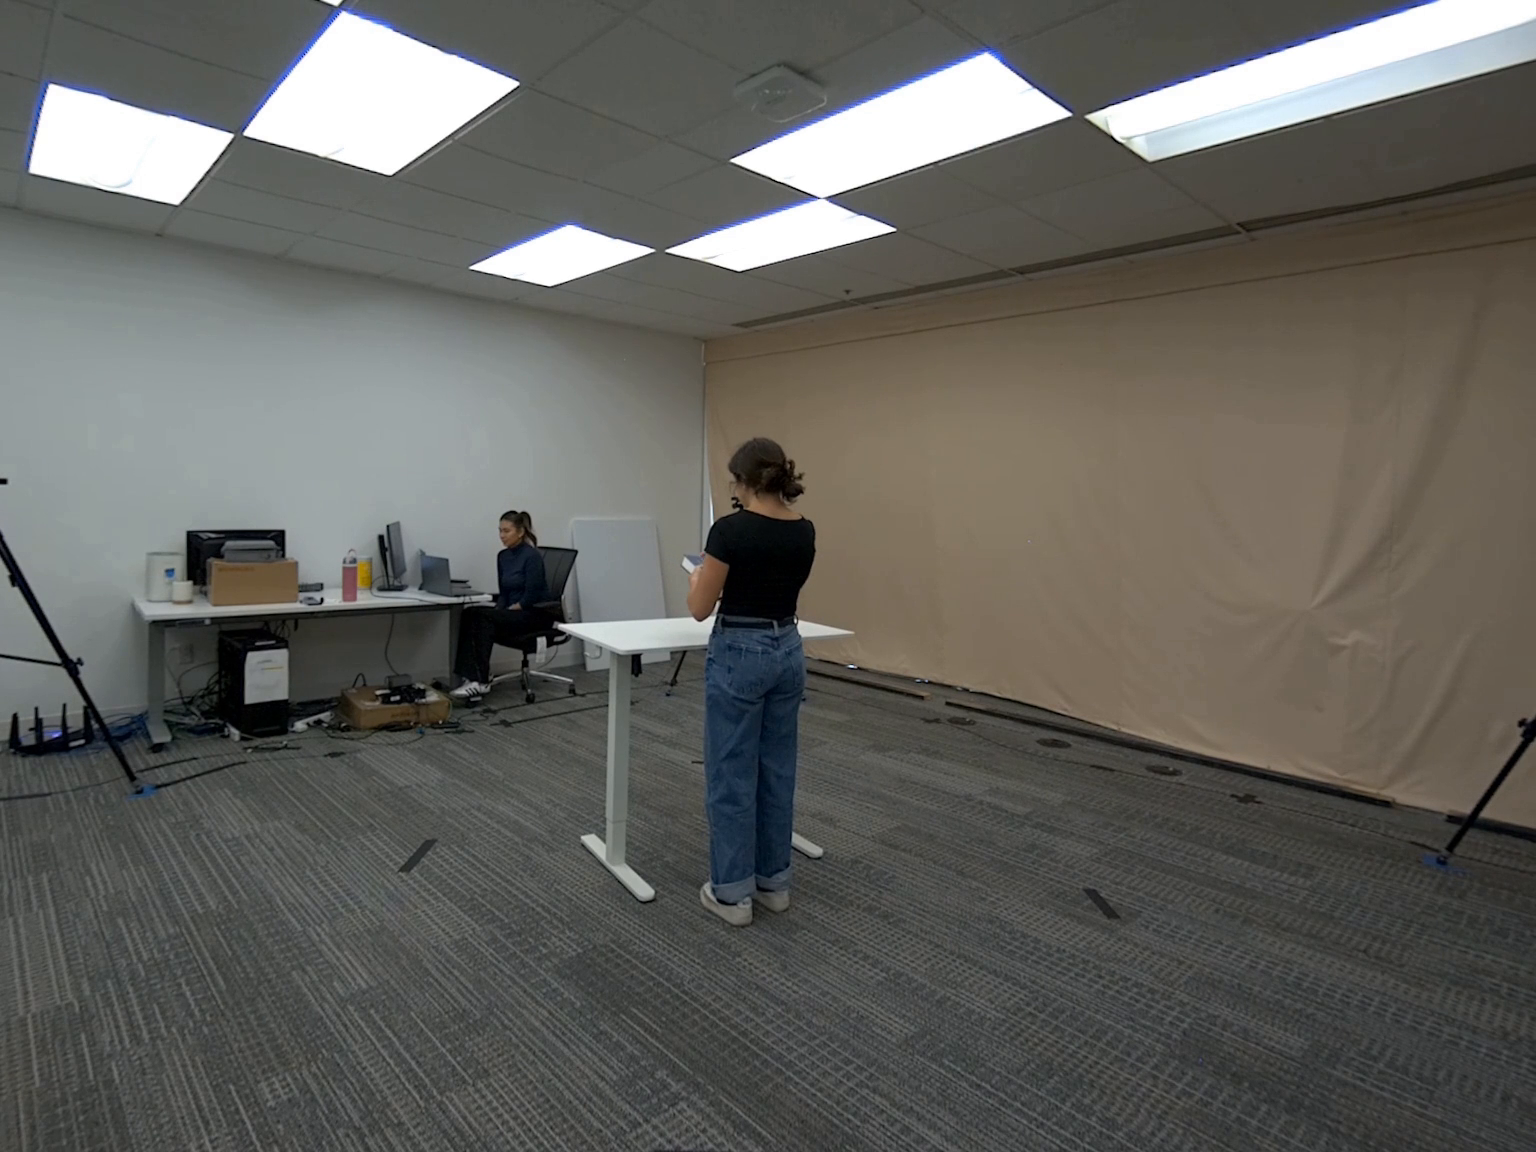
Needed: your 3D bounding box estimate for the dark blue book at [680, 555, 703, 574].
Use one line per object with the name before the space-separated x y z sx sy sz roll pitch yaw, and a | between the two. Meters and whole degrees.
dark blue book | -0.166 -0.008 3.070 0.239 0.045 0.168 9 18 -37
